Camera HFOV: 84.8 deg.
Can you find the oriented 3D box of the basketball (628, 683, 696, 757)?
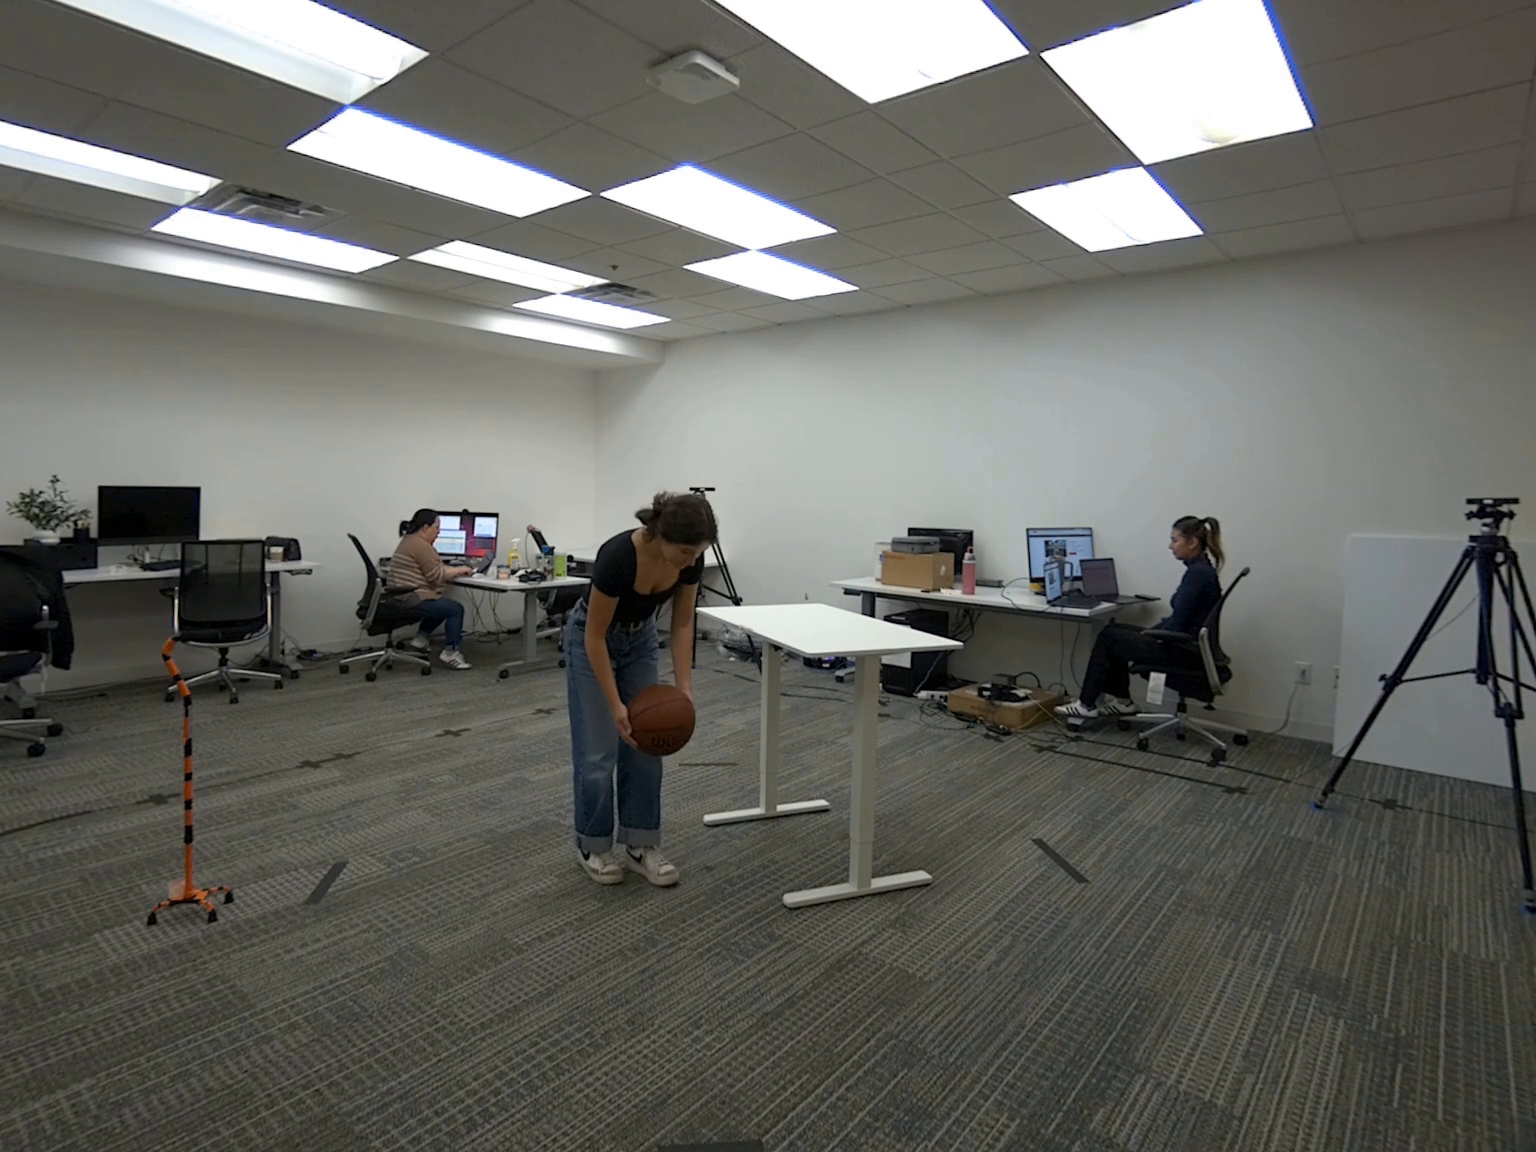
[{"bbox_3d":[-0.366,0.472,2.861,0.235,0.235,0.237,1,4,-2],"label":"basketball"}]
